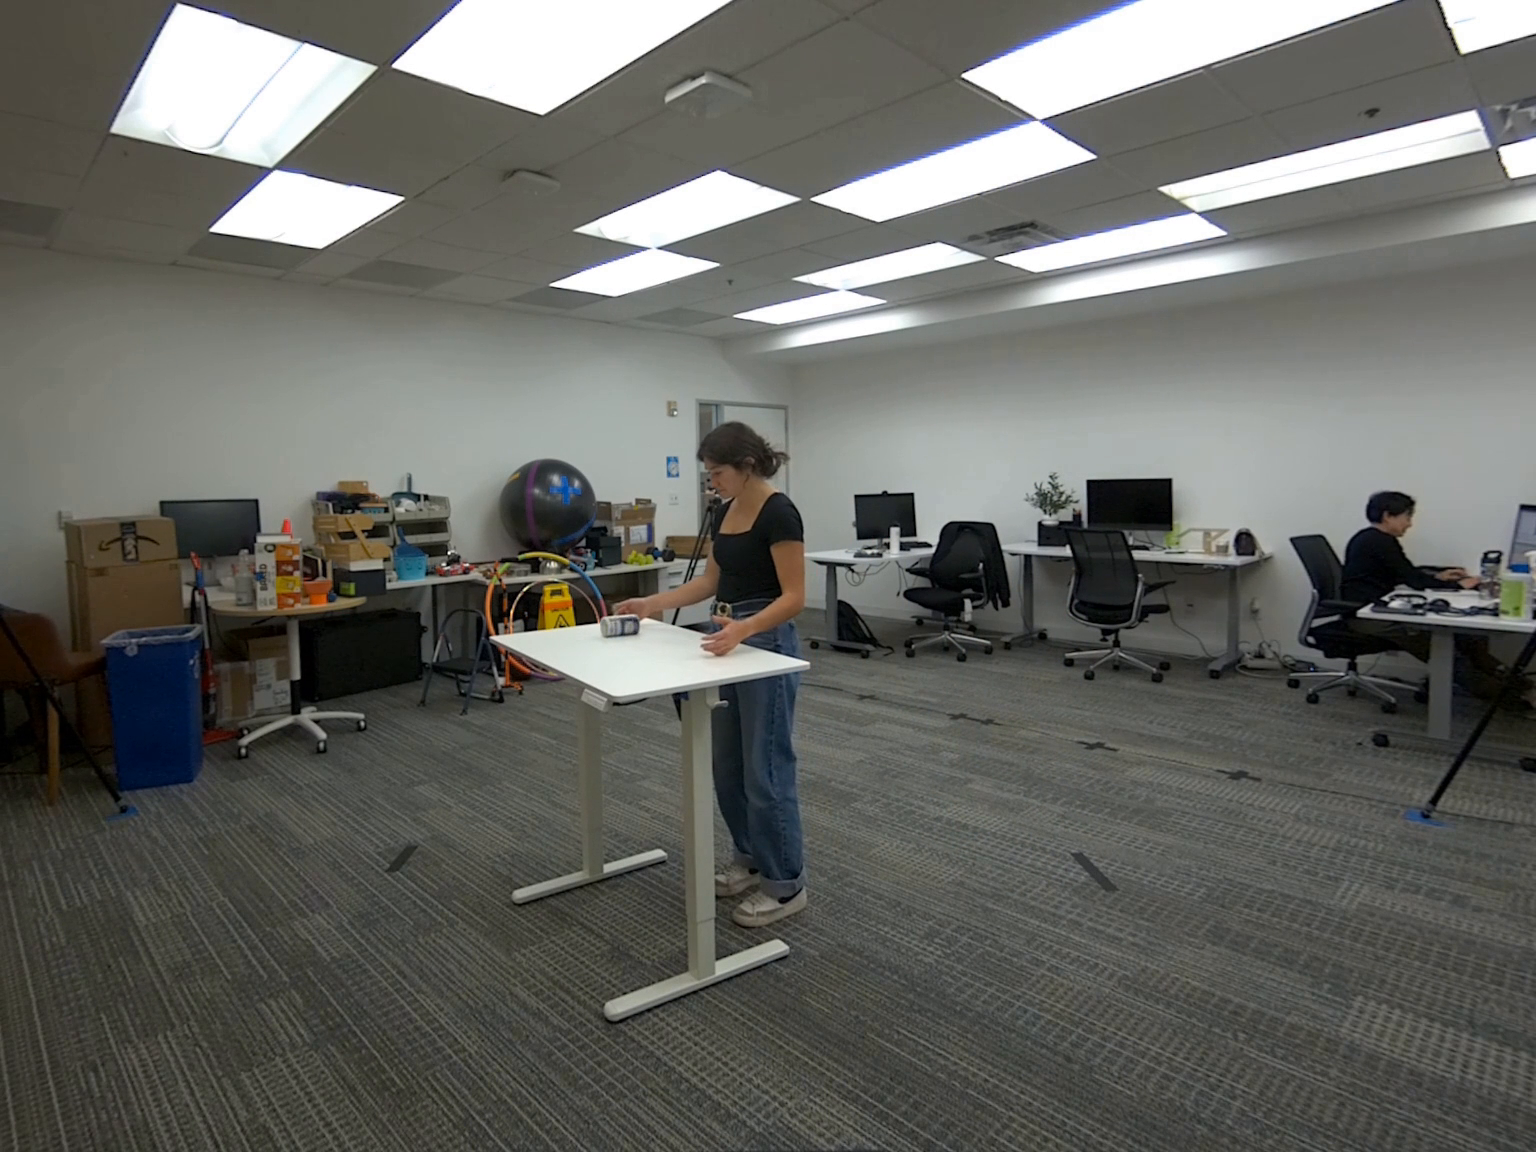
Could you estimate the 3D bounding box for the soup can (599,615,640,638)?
[{"bbox_3d":[-0.498,0.166,2.877,0.119,0.067,0.069,-3,5,-22],"label":"soup can"}]
